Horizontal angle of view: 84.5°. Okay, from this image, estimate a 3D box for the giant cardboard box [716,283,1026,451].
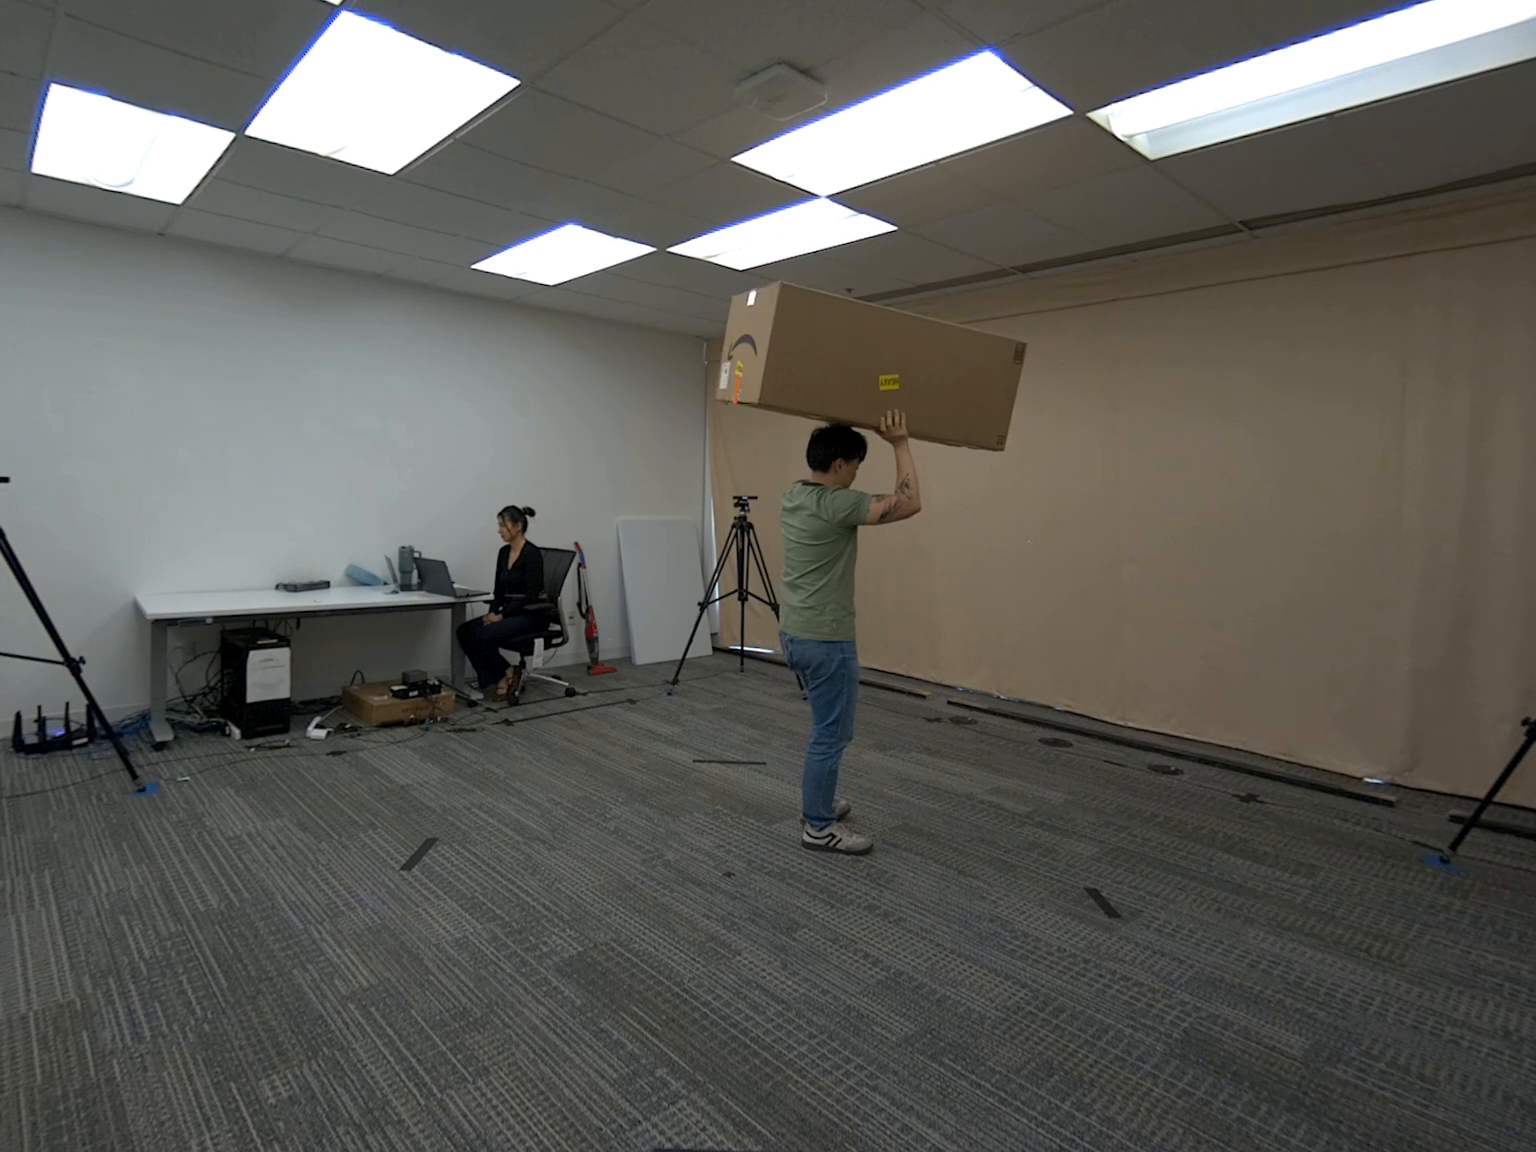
[{"bbox_3d":[0.374,-0.798,3.320,1.010,0.424,0.590,7,10,-19],"label":"giant cardboard box"}]
